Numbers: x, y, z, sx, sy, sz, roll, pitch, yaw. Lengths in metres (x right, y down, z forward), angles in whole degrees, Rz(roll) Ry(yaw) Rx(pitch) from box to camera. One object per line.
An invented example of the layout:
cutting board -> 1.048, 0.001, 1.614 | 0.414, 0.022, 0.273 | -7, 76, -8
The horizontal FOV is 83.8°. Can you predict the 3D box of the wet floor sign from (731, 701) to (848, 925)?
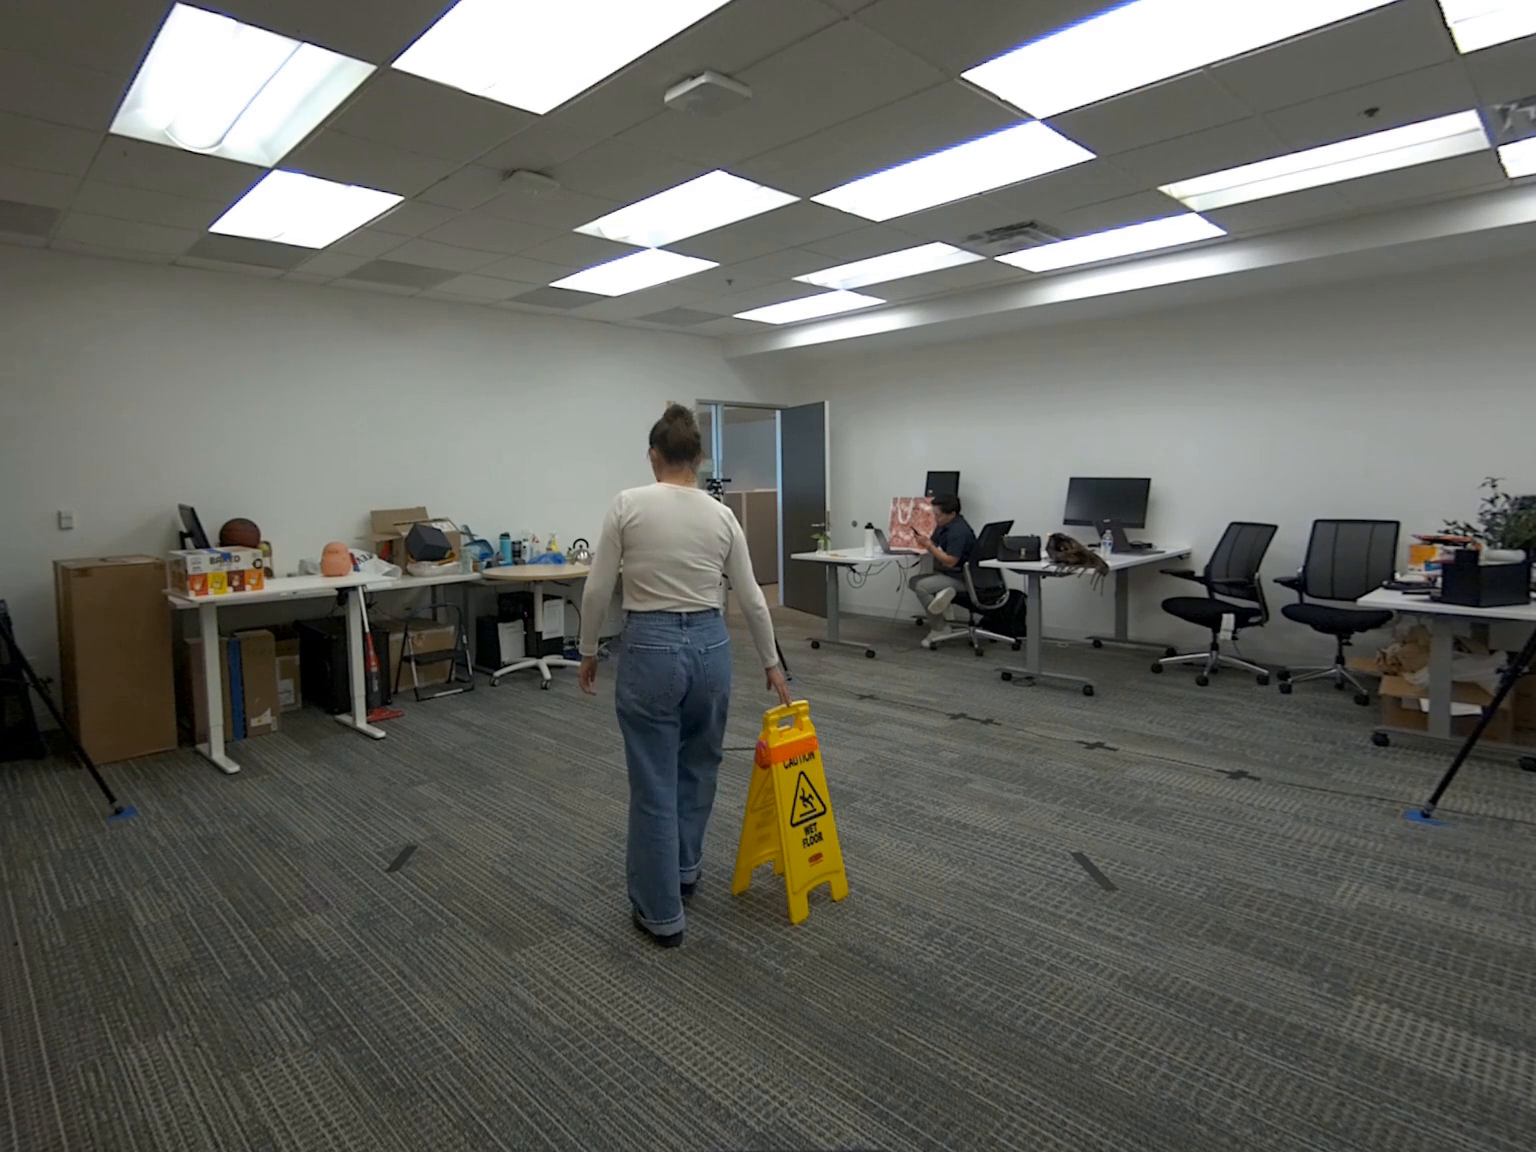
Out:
wet floor sign -> 0.073, 0.746, 2.847 | 0.299, 0.643, 0.275 | 4, 7, 45
